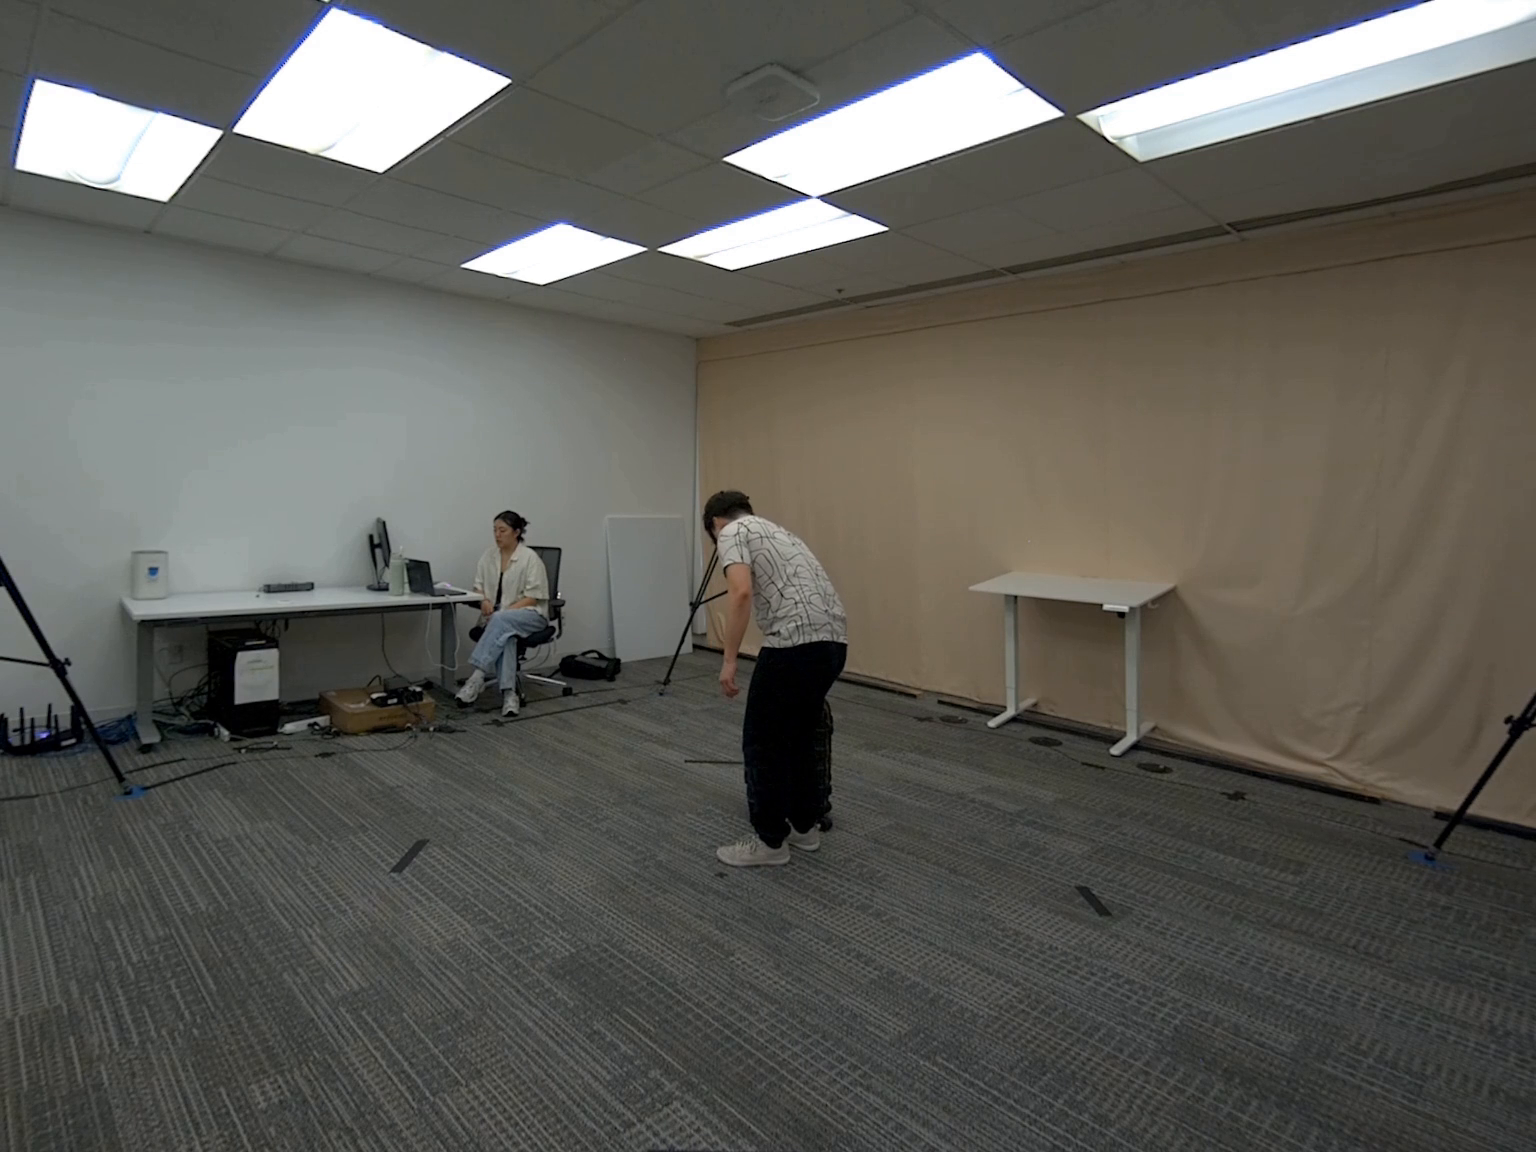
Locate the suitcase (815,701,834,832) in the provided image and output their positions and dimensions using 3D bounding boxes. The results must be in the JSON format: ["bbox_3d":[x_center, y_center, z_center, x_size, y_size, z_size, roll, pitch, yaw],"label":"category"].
[{"bbox_3d":[0.088,0.787,3.671,0.377,0.549,0.247,1,2,6],"label":"suitcase"}]
